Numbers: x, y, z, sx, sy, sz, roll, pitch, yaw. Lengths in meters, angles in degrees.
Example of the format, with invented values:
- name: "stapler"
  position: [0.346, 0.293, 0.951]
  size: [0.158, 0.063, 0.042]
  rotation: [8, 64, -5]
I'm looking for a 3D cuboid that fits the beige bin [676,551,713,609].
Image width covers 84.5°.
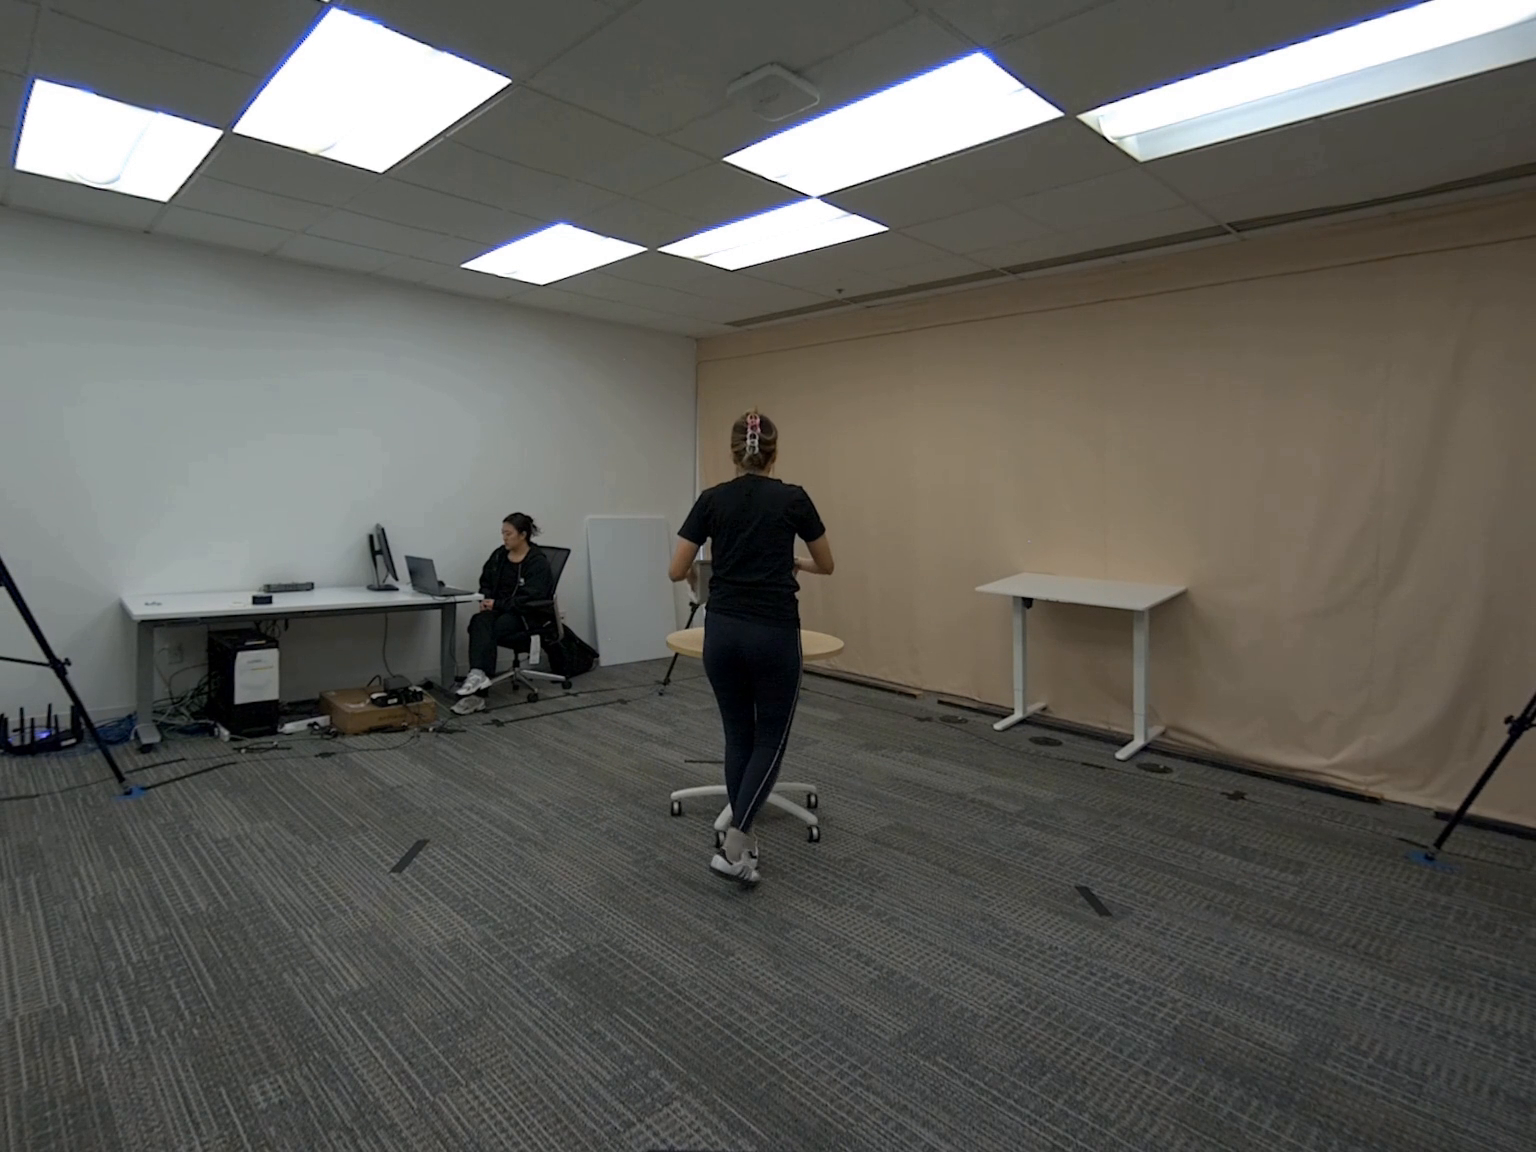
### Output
- name: "beige bin"
  position: [-0.147, 0.007, 3.559]
  size: [0.418, 0.188, 0.383]
  rotation: [0, 7, -13]
